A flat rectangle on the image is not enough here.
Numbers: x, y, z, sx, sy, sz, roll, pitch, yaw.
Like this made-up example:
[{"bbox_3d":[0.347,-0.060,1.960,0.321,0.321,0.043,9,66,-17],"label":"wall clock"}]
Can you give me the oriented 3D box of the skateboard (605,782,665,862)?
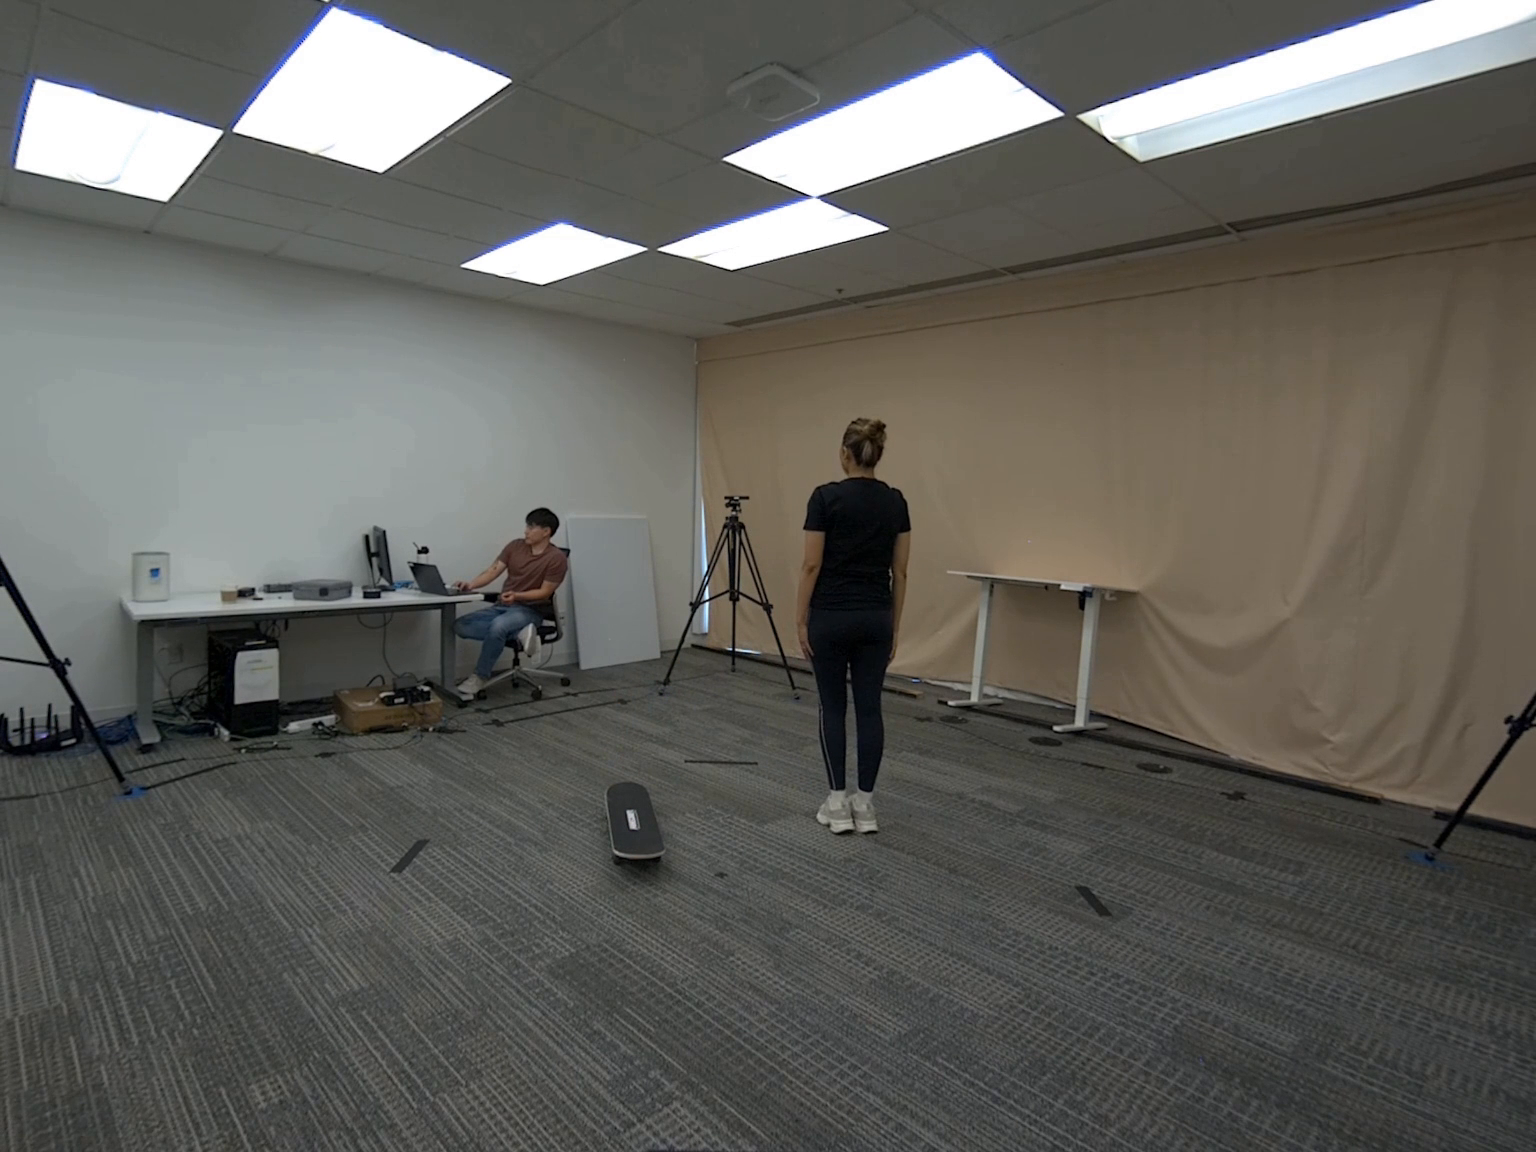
[{"bbox_3d":[-0.554,1.012,3.391,0.191,0.110,0.795,1,5,-13],"label":"skateboard"}]
